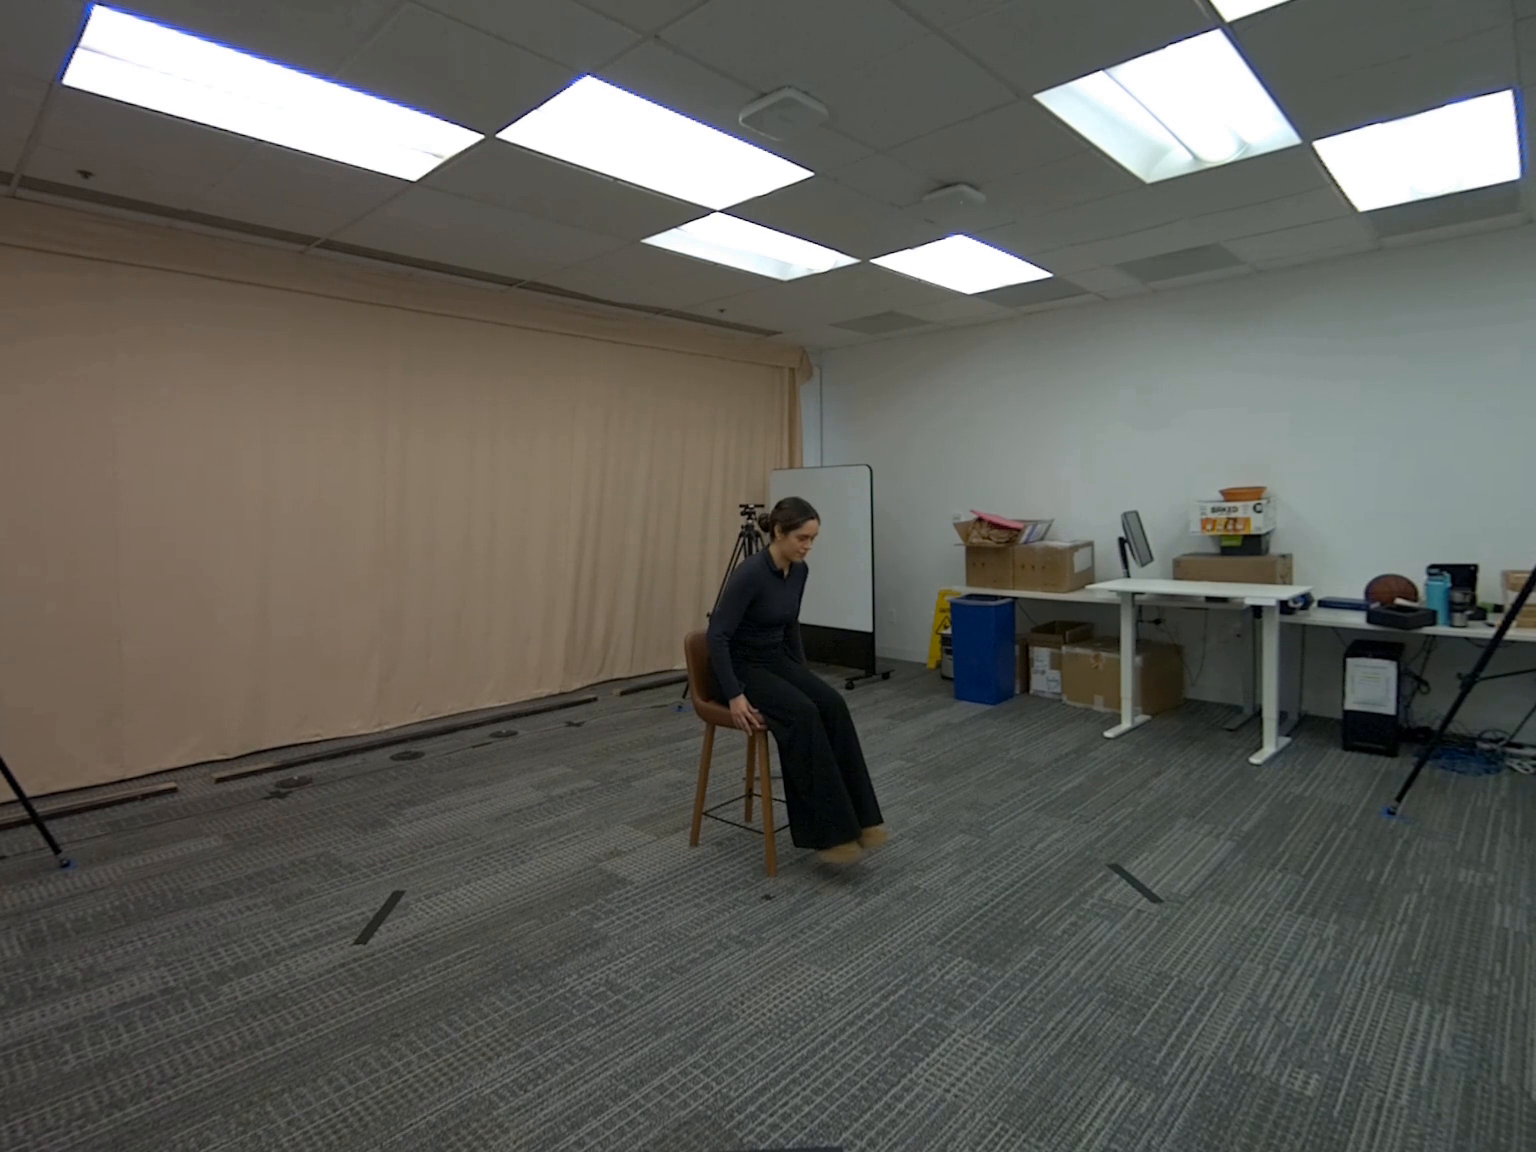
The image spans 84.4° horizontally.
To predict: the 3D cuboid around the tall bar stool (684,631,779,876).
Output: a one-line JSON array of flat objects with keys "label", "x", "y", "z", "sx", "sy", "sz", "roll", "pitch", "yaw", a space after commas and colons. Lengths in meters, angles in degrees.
[{"label": "tall bar stool", "x": -0.047, "y": 0.667, "z": 3.433, "sx": 0.482, "sy": 0.889, "sz": 0.443, "roll": -1, "pitch": 2, "yaw": 41}]
